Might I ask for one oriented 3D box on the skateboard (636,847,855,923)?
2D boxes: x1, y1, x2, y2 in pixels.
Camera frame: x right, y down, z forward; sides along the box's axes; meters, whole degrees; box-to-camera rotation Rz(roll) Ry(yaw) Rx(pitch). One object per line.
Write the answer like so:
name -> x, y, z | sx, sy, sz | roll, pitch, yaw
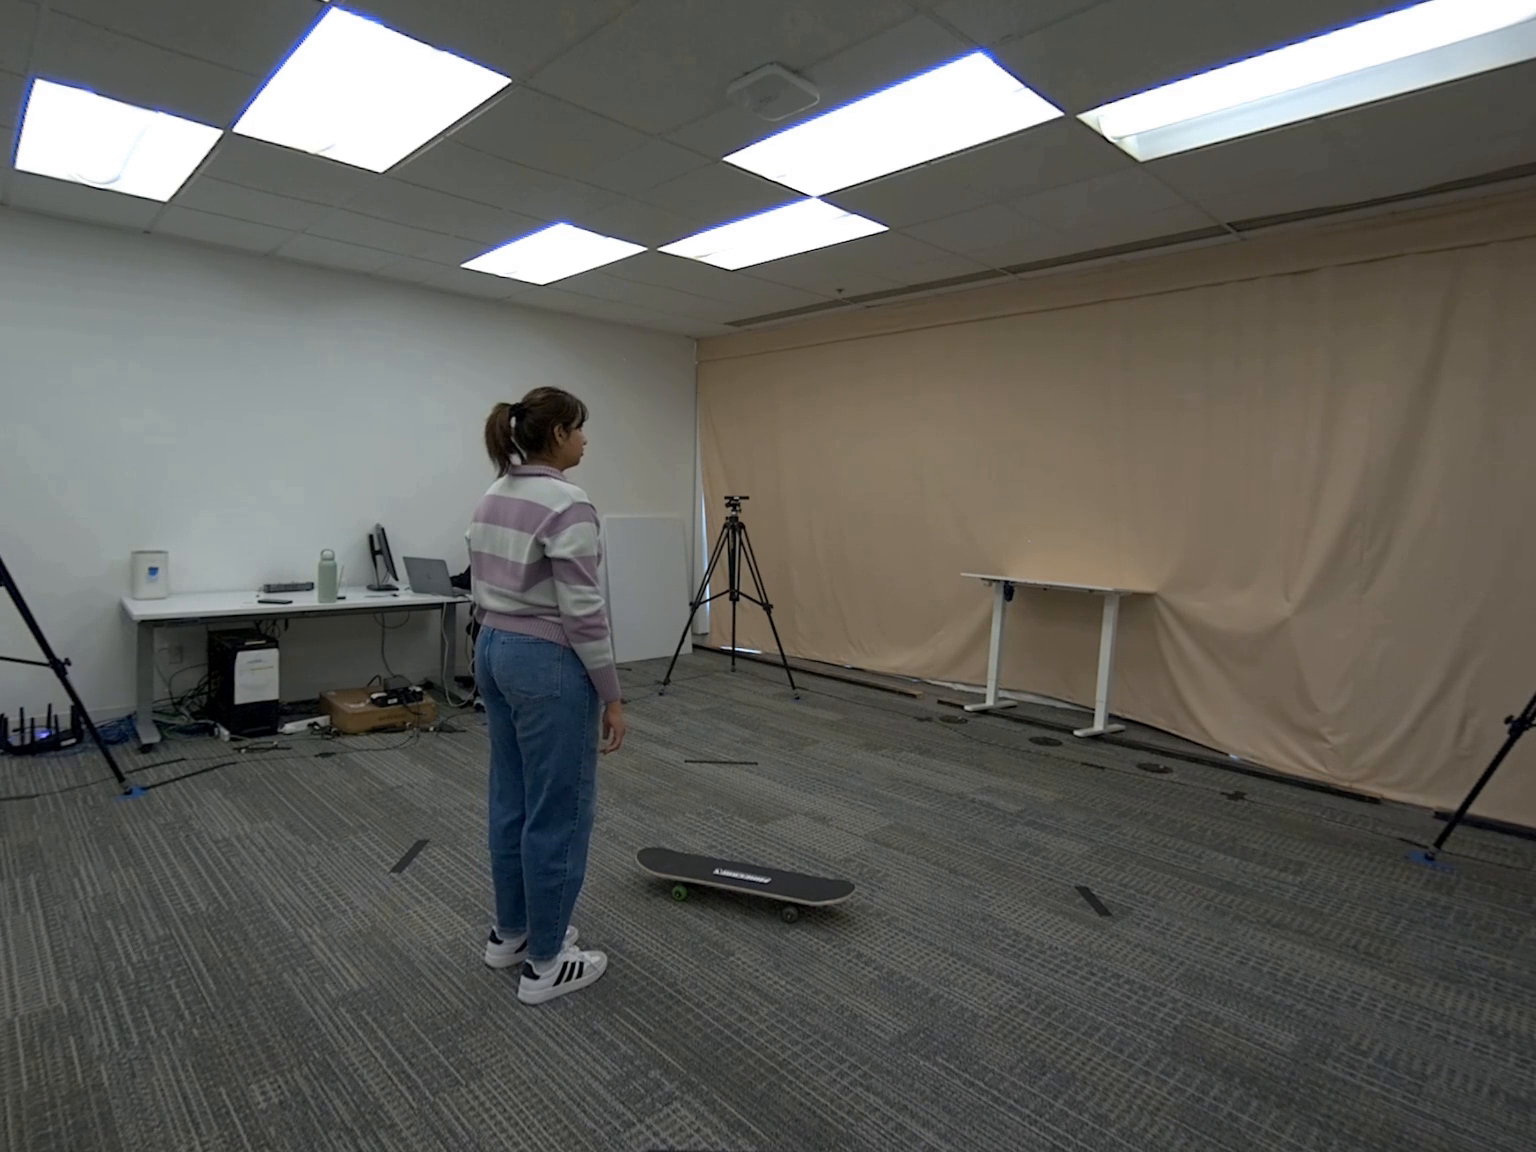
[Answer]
skateboard -> -0.100, 1.065, 2.903 | 0.798, 0.110, 0.191 | 3, 5, 19
